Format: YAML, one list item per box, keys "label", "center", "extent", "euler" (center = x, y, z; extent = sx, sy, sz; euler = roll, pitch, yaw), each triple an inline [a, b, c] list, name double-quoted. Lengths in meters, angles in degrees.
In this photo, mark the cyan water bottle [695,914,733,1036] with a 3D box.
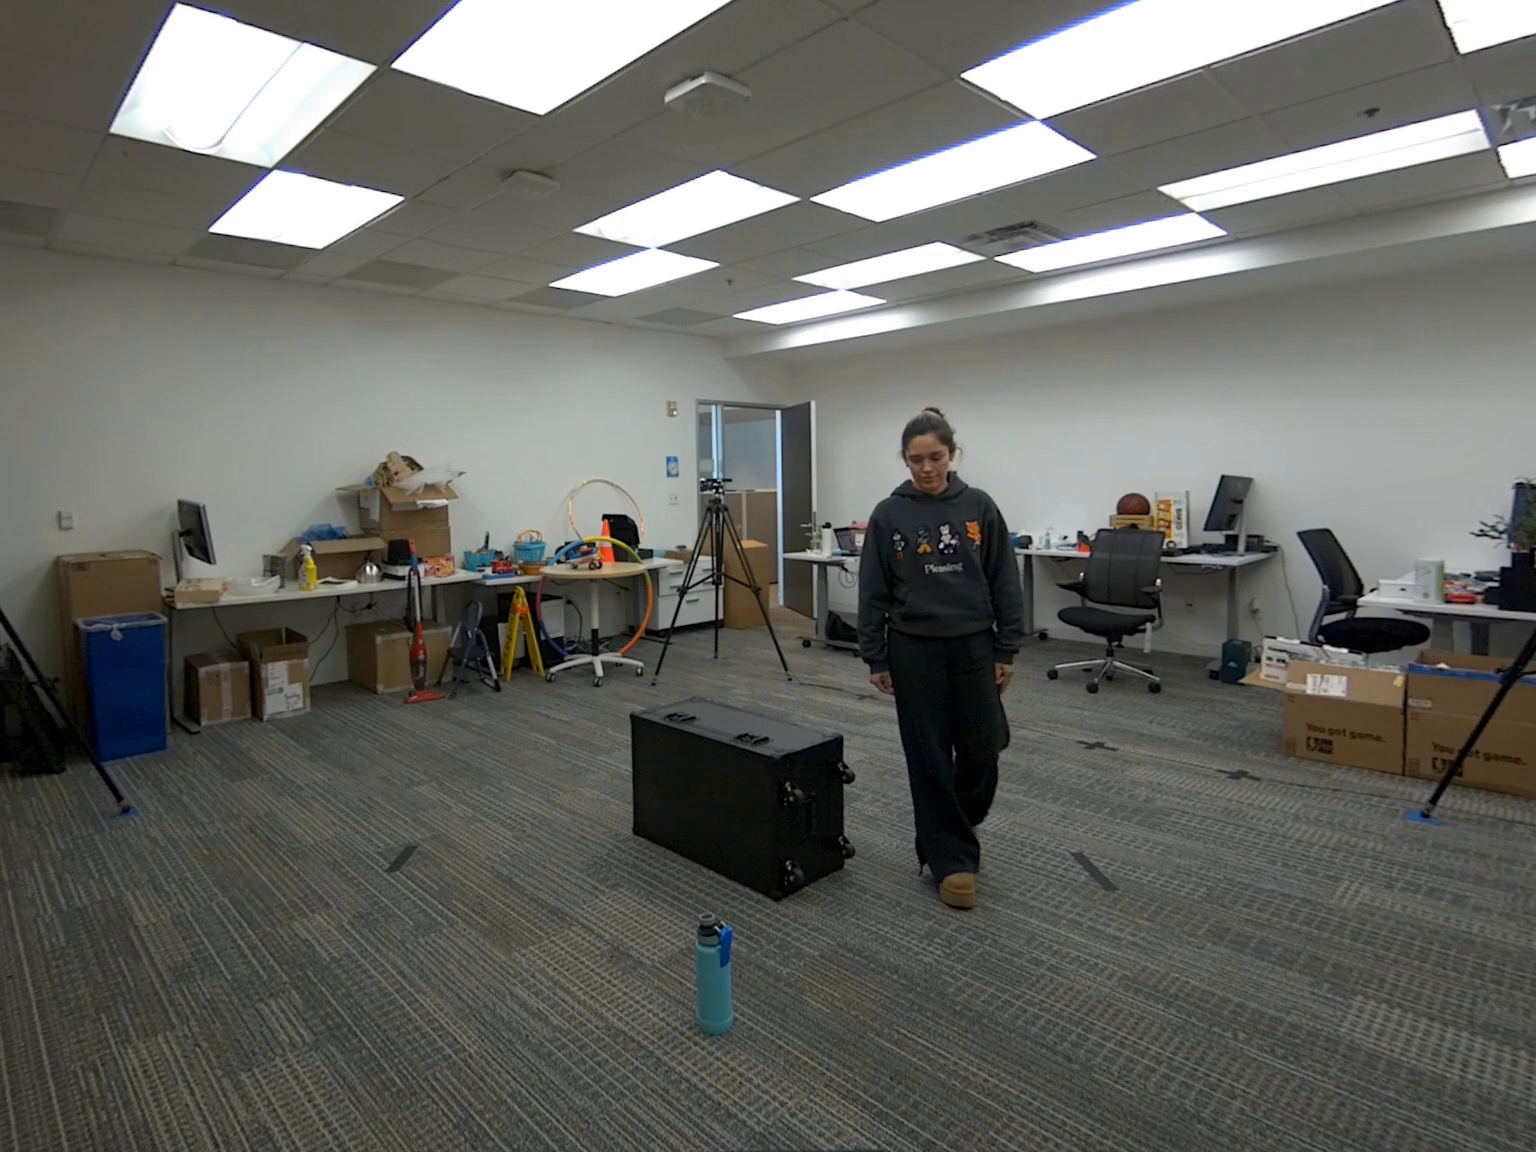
- label: "cyan water bottle"
  center: [-0.135, 1.019, 2.172]
  extent: [0.092, 0.282, 0.093]
  euler: [-1, 4, -2]
